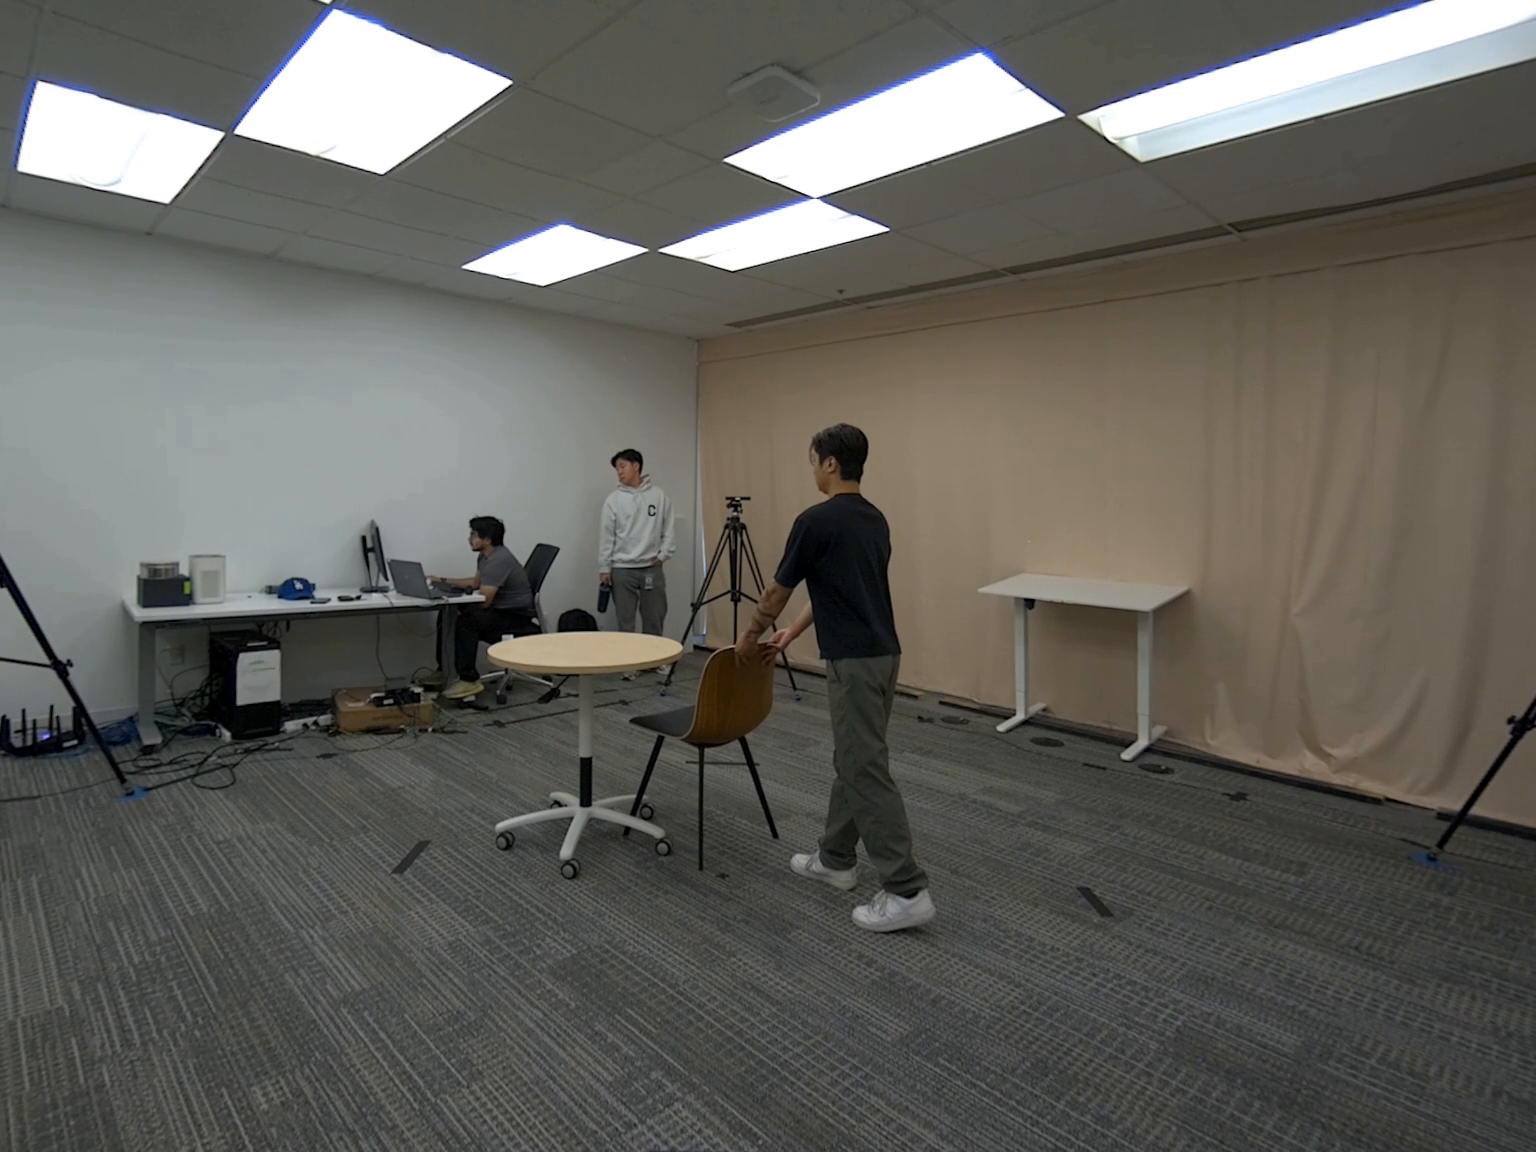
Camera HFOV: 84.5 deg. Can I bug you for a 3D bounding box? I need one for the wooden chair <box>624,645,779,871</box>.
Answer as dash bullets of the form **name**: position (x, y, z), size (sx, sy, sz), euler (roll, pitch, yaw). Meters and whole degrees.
- **wooden chair**: position (-0.273, 0.645, 3.428), size (0.537, 0.873, 0.467), euler (11, 9, 42)
